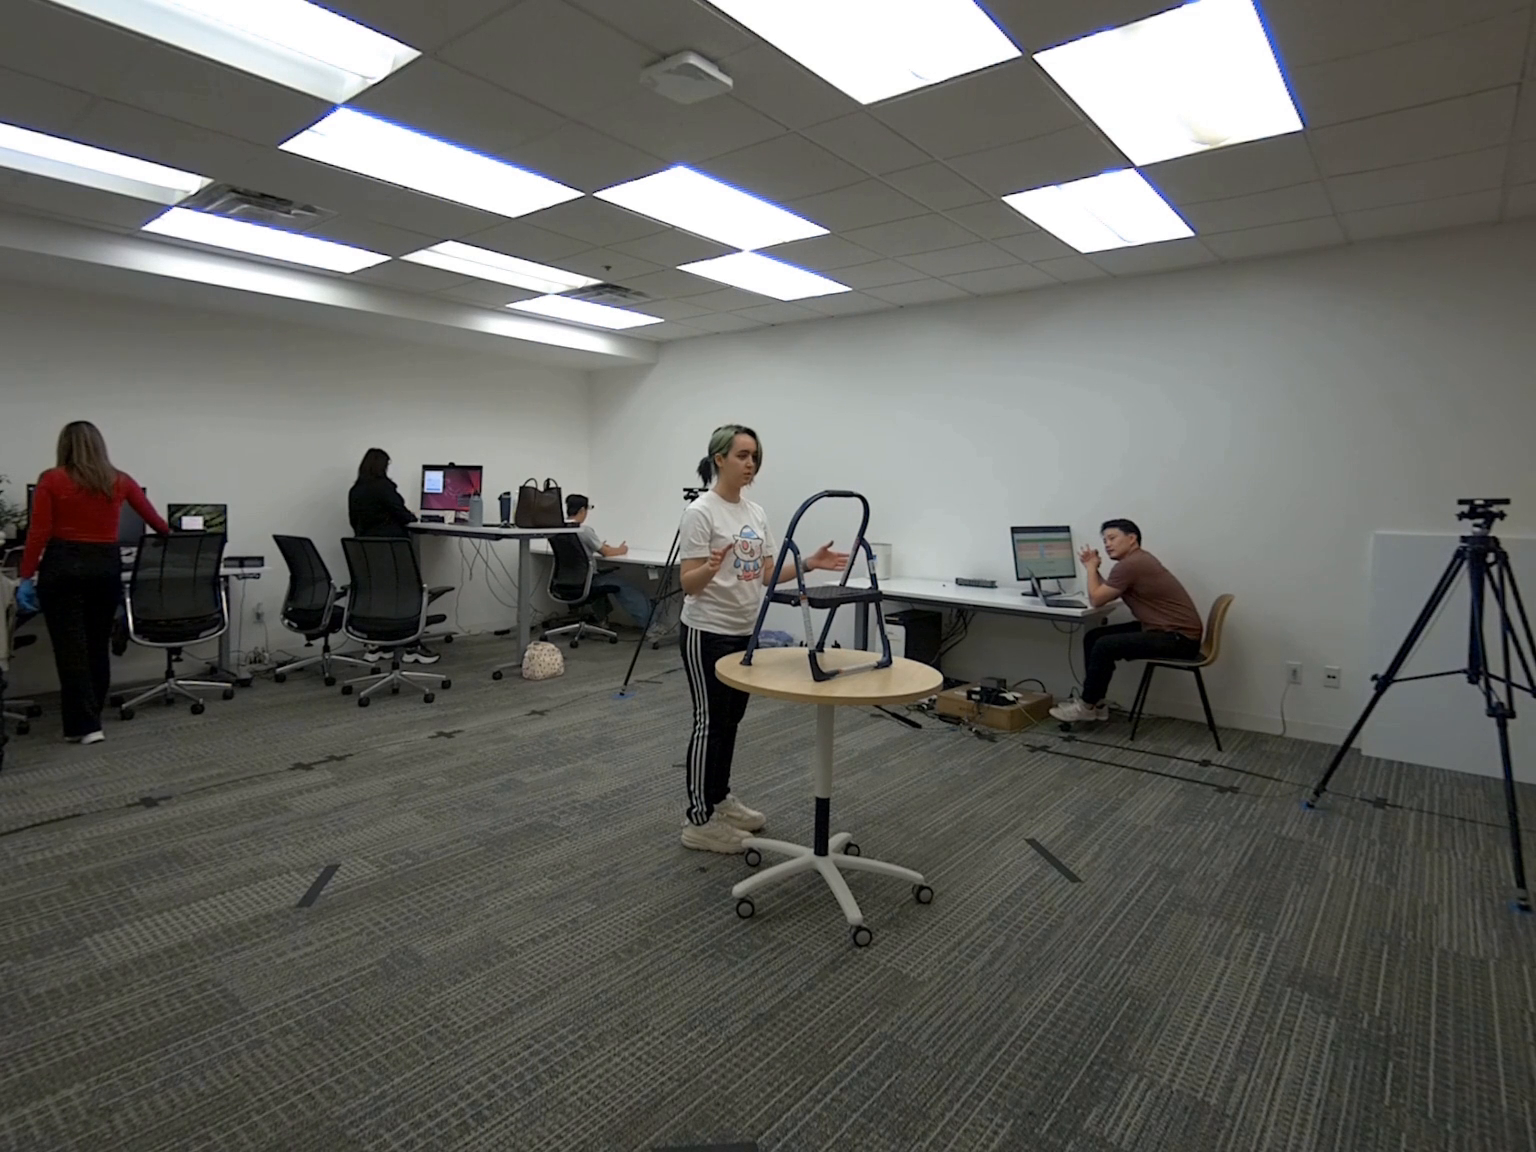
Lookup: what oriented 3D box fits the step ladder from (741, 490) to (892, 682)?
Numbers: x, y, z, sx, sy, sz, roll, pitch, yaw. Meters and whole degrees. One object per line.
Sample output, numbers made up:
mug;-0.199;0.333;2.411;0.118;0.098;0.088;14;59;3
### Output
step ladder;0.178;0.007;2.939;0.361;0.604;0.417;5;5;44
